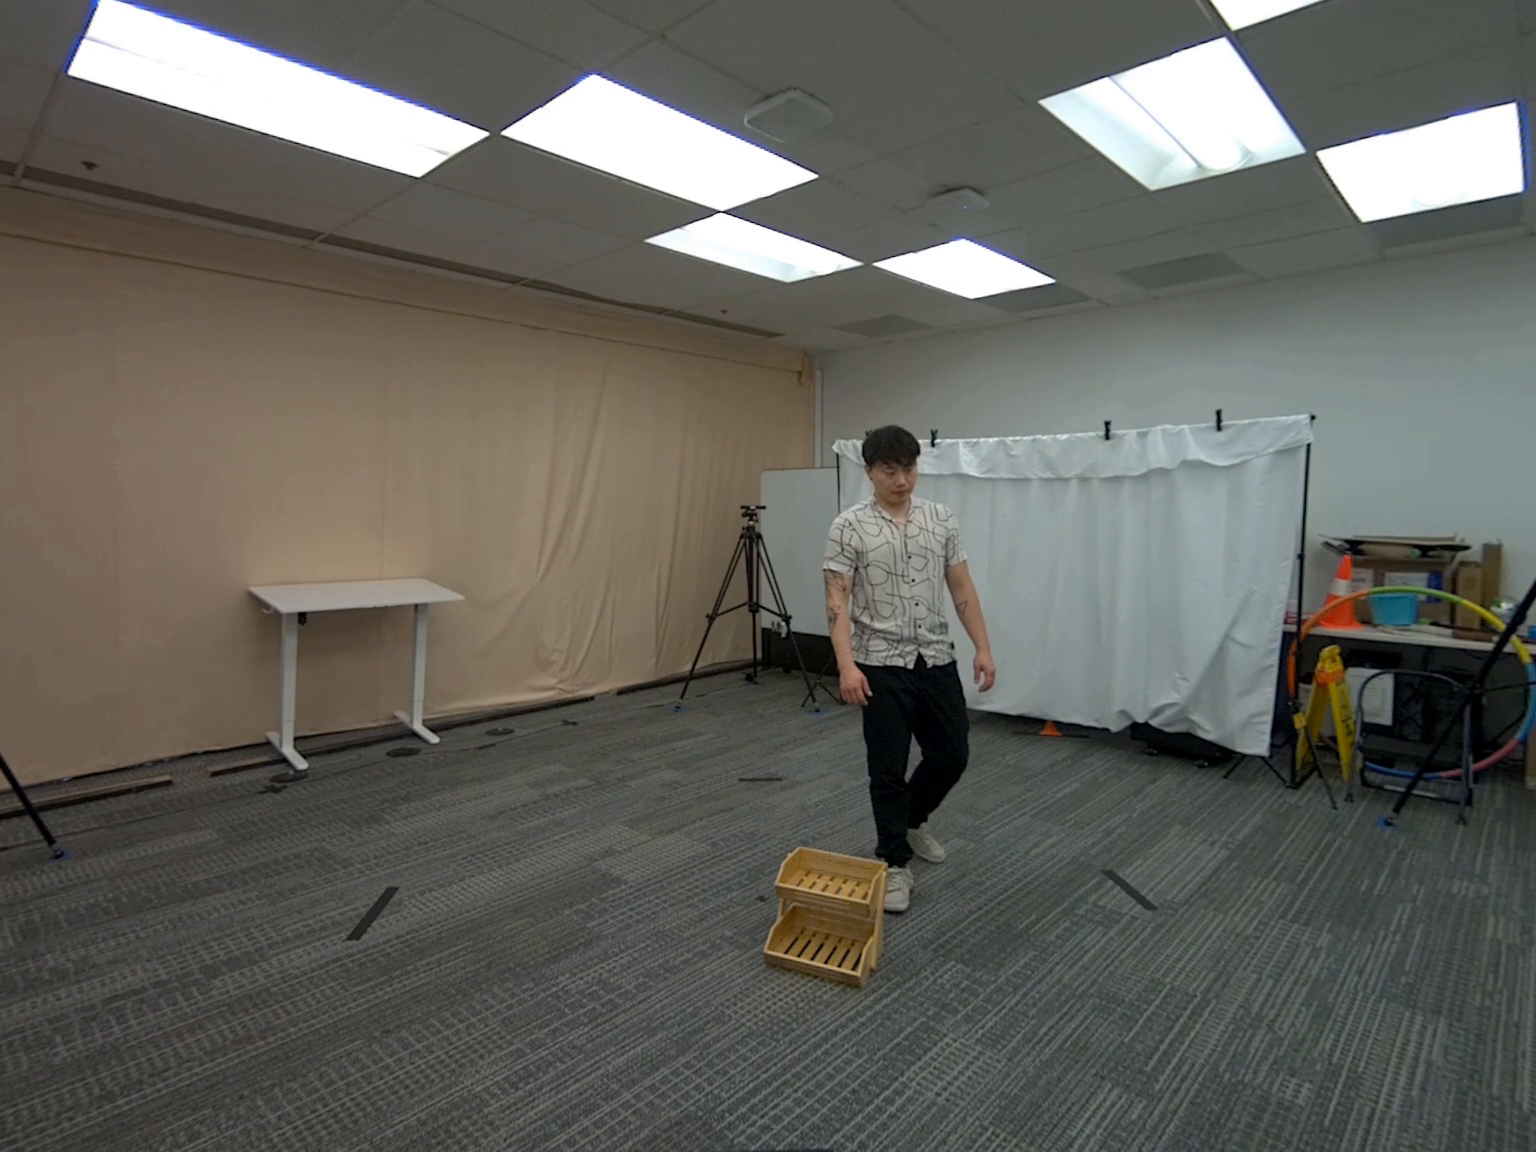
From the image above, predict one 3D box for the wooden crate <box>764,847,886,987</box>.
[{"bbox_3d":[0.189,1.043,2.600,0.333,0.273,0.295,2,4,25],"label":"wooden crate"}]
